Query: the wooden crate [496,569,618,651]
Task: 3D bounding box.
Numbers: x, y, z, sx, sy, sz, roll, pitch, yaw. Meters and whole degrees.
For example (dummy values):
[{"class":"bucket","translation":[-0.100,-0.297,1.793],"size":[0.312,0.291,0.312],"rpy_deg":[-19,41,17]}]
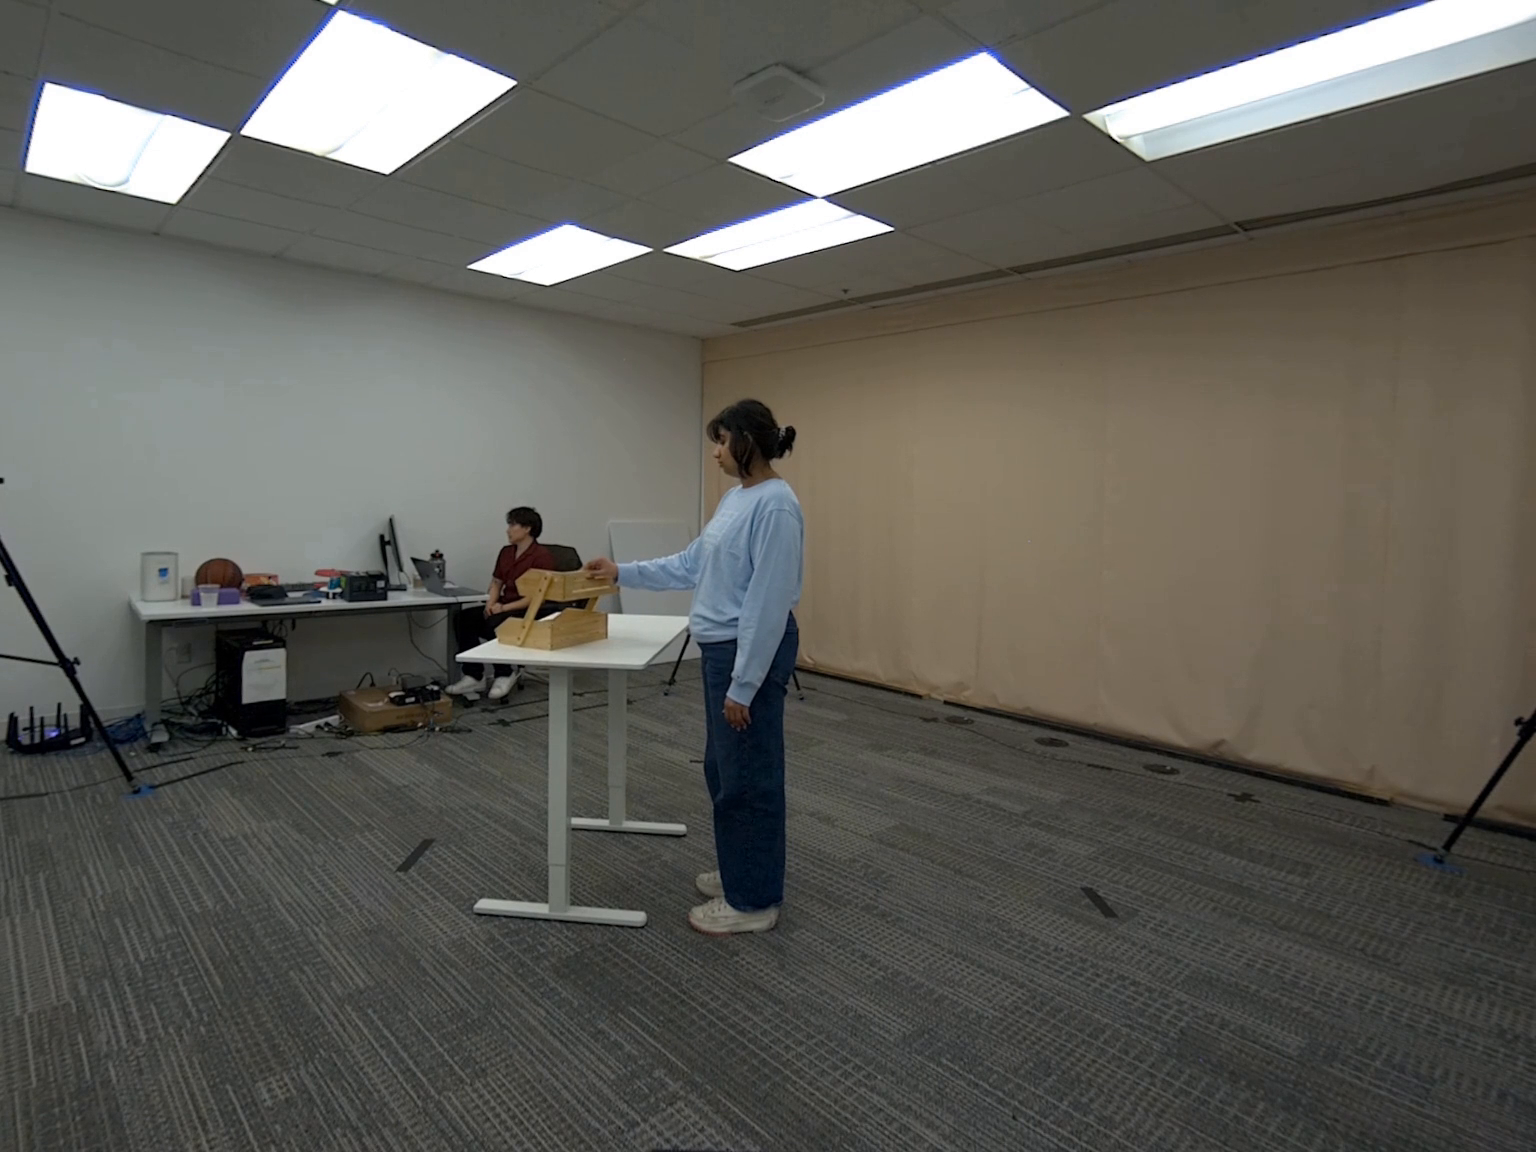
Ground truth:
[{"class":"wooden crate","translation":[-0.727,0.095,2.911],"size":[0.308,0.272,0.318],"rpy_deg":[5,6,28]}]
